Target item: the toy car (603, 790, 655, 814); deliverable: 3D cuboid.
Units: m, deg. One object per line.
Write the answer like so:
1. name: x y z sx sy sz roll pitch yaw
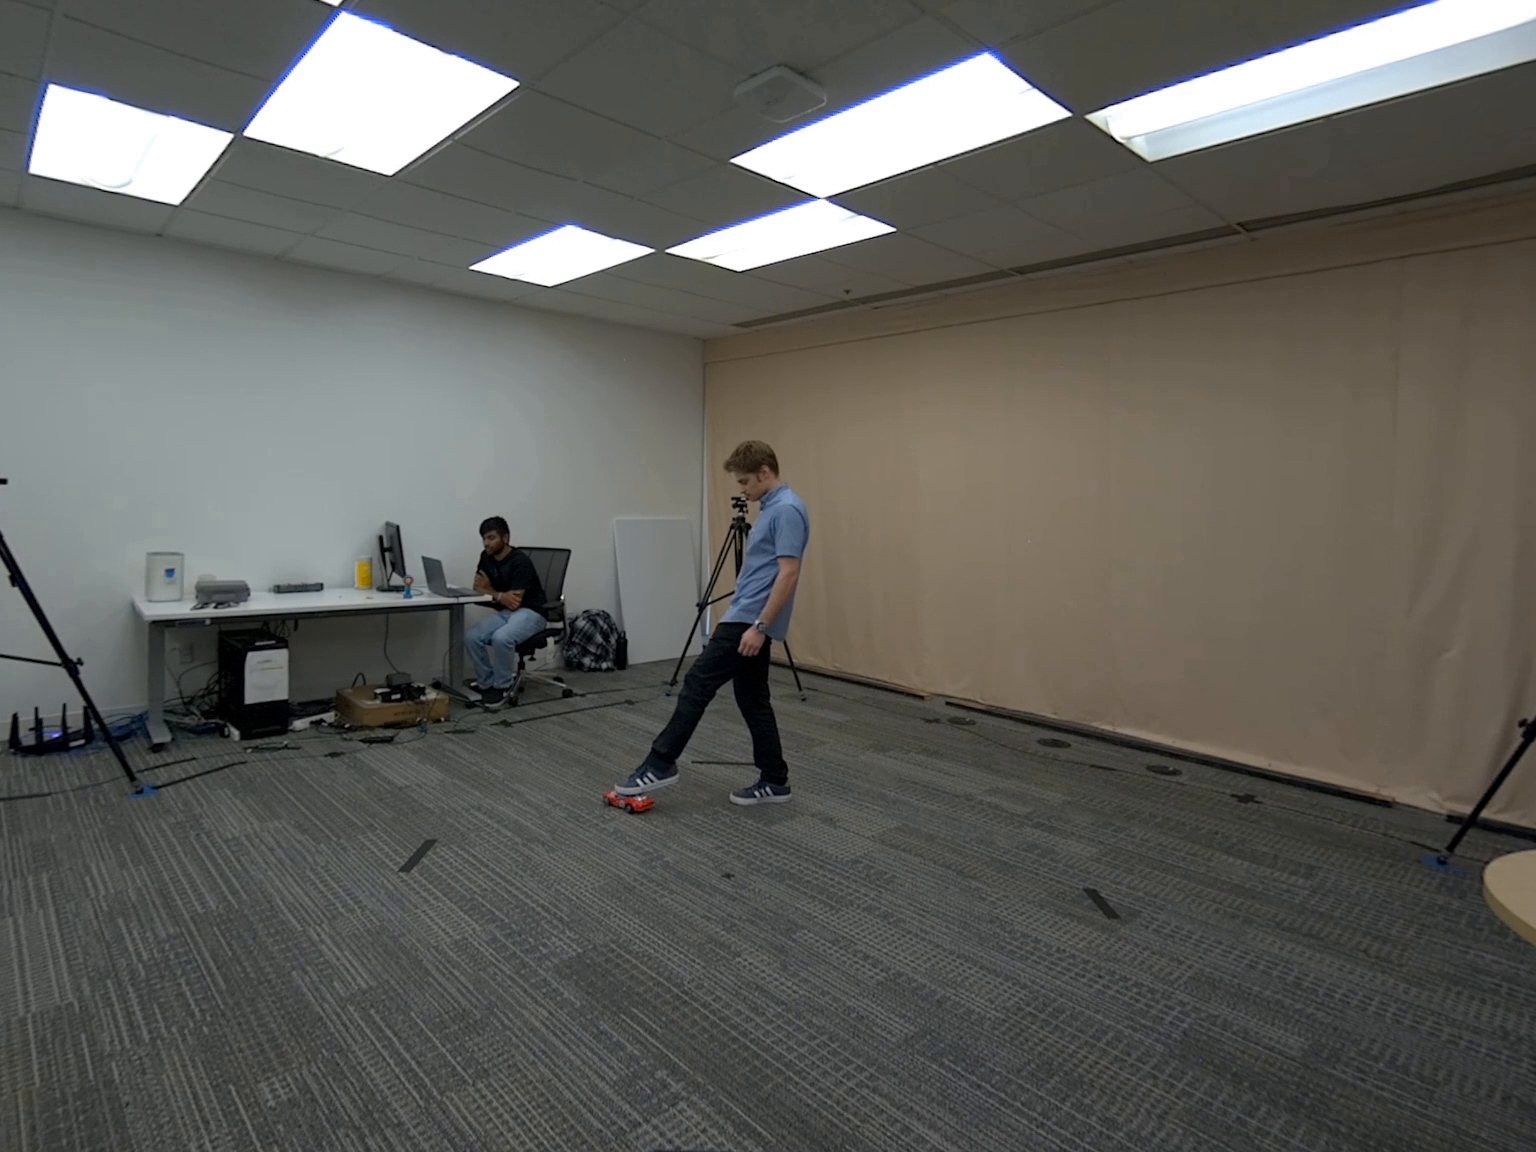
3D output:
1. toy car: -0.630 1.009 3.768 0.259 0.083 0.127 -8 -3 37
